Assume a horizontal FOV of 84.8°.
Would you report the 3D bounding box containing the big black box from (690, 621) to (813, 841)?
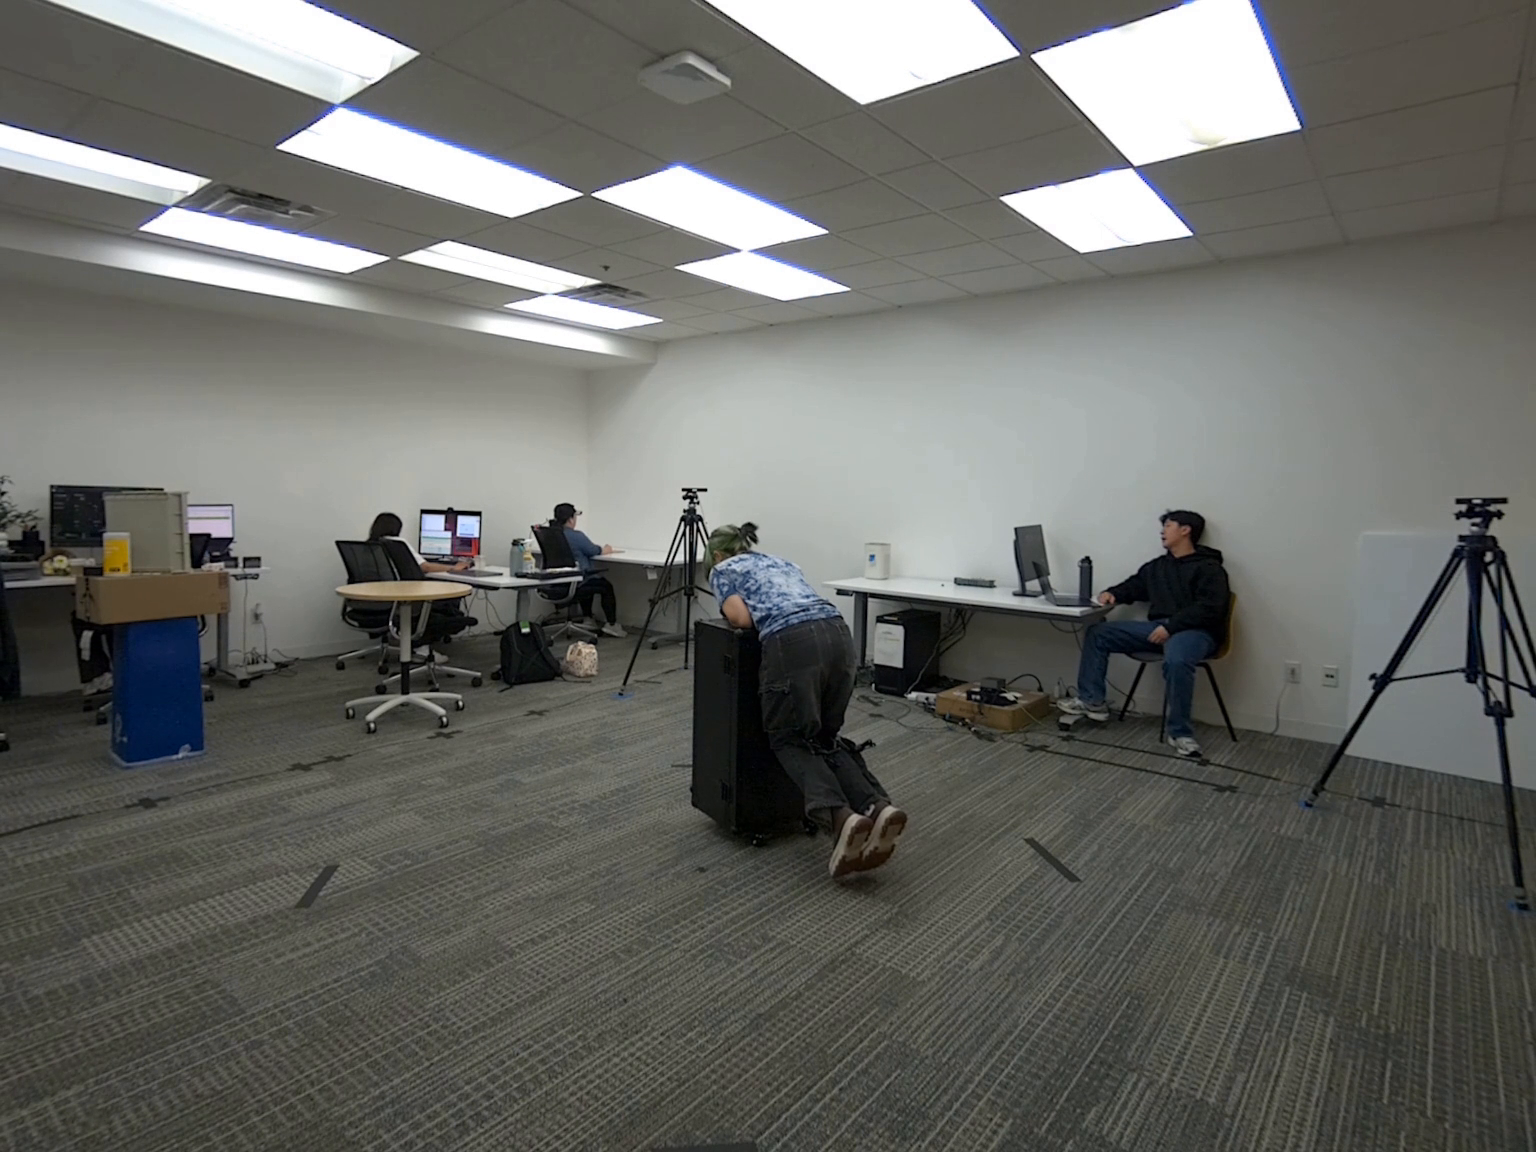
[{"bbox_3d":[-0.032,0.559,3.516,0.507,0.860,0.408,0,3,-32],"label":"big black box"}]
